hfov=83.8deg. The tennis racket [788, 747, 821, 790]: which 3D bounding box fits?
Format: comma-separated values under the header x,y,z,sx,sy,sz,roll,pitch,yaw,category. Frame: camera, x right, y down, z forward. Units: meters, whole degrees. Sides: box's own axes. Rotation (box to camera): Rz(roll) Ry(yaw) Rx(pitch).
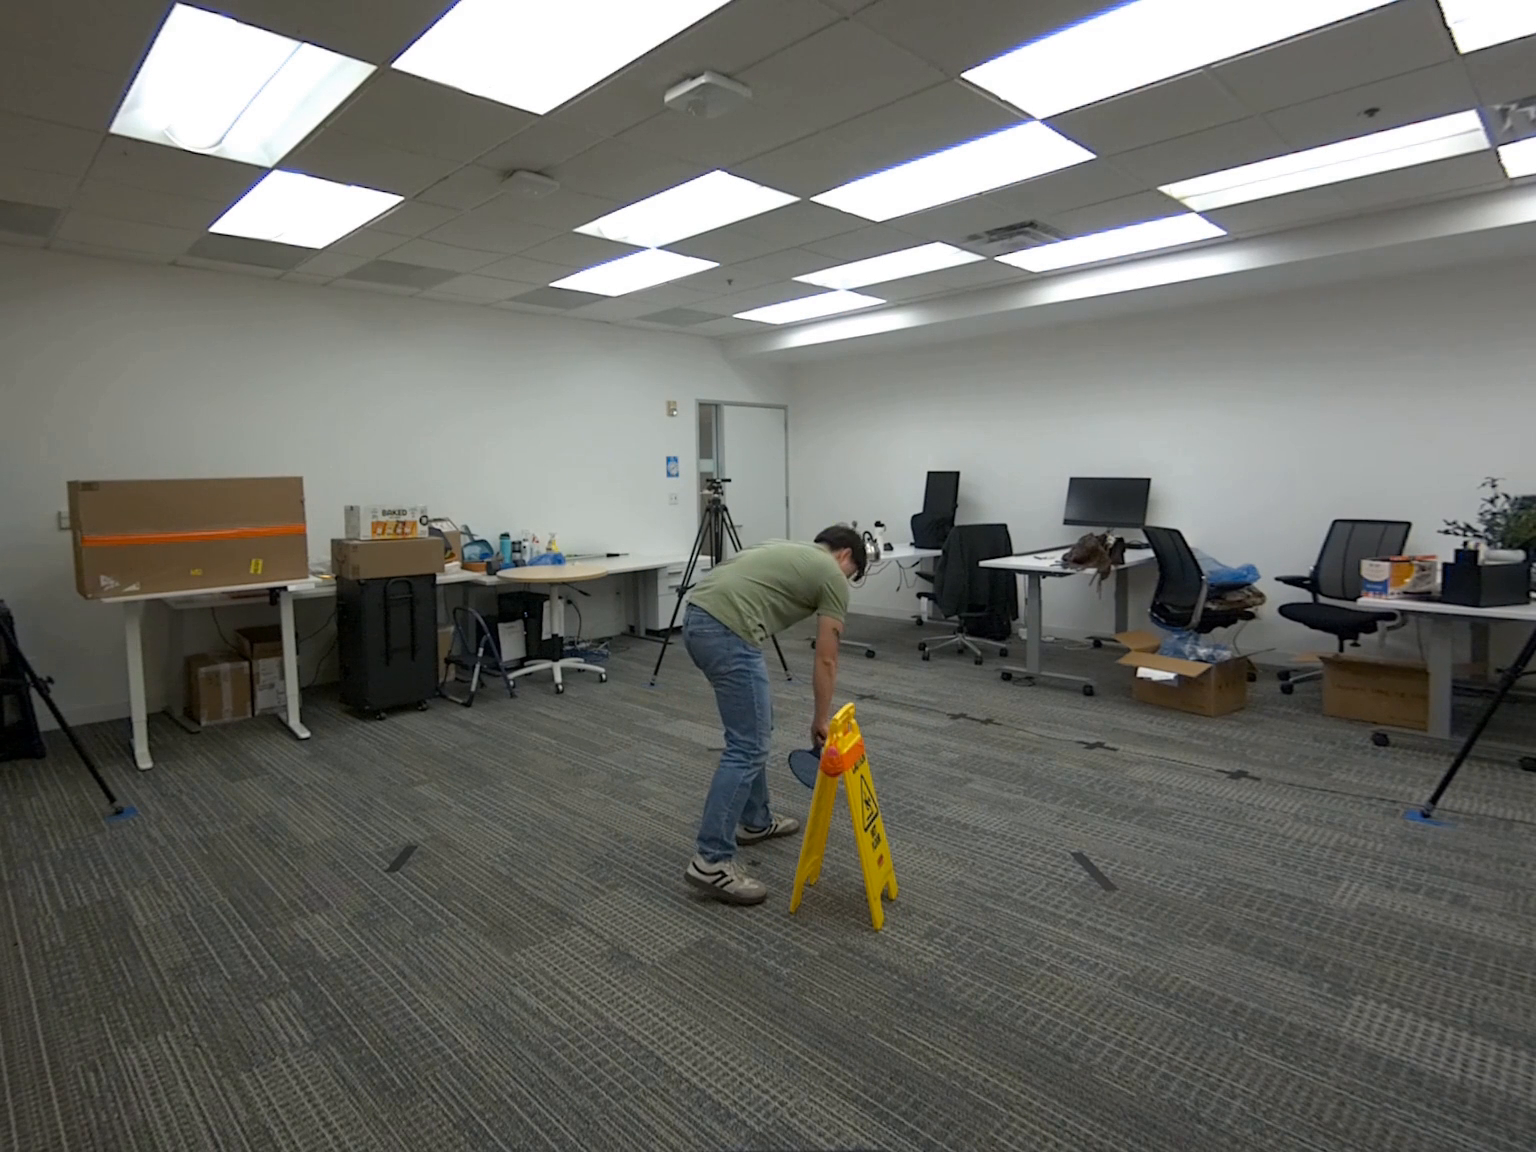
x,y,z,sx,sy,sz,roll,pitch,yaw,category
0.177,0.747,3.436,0.219,0.424,0.031,36,53,17,tennis racket
